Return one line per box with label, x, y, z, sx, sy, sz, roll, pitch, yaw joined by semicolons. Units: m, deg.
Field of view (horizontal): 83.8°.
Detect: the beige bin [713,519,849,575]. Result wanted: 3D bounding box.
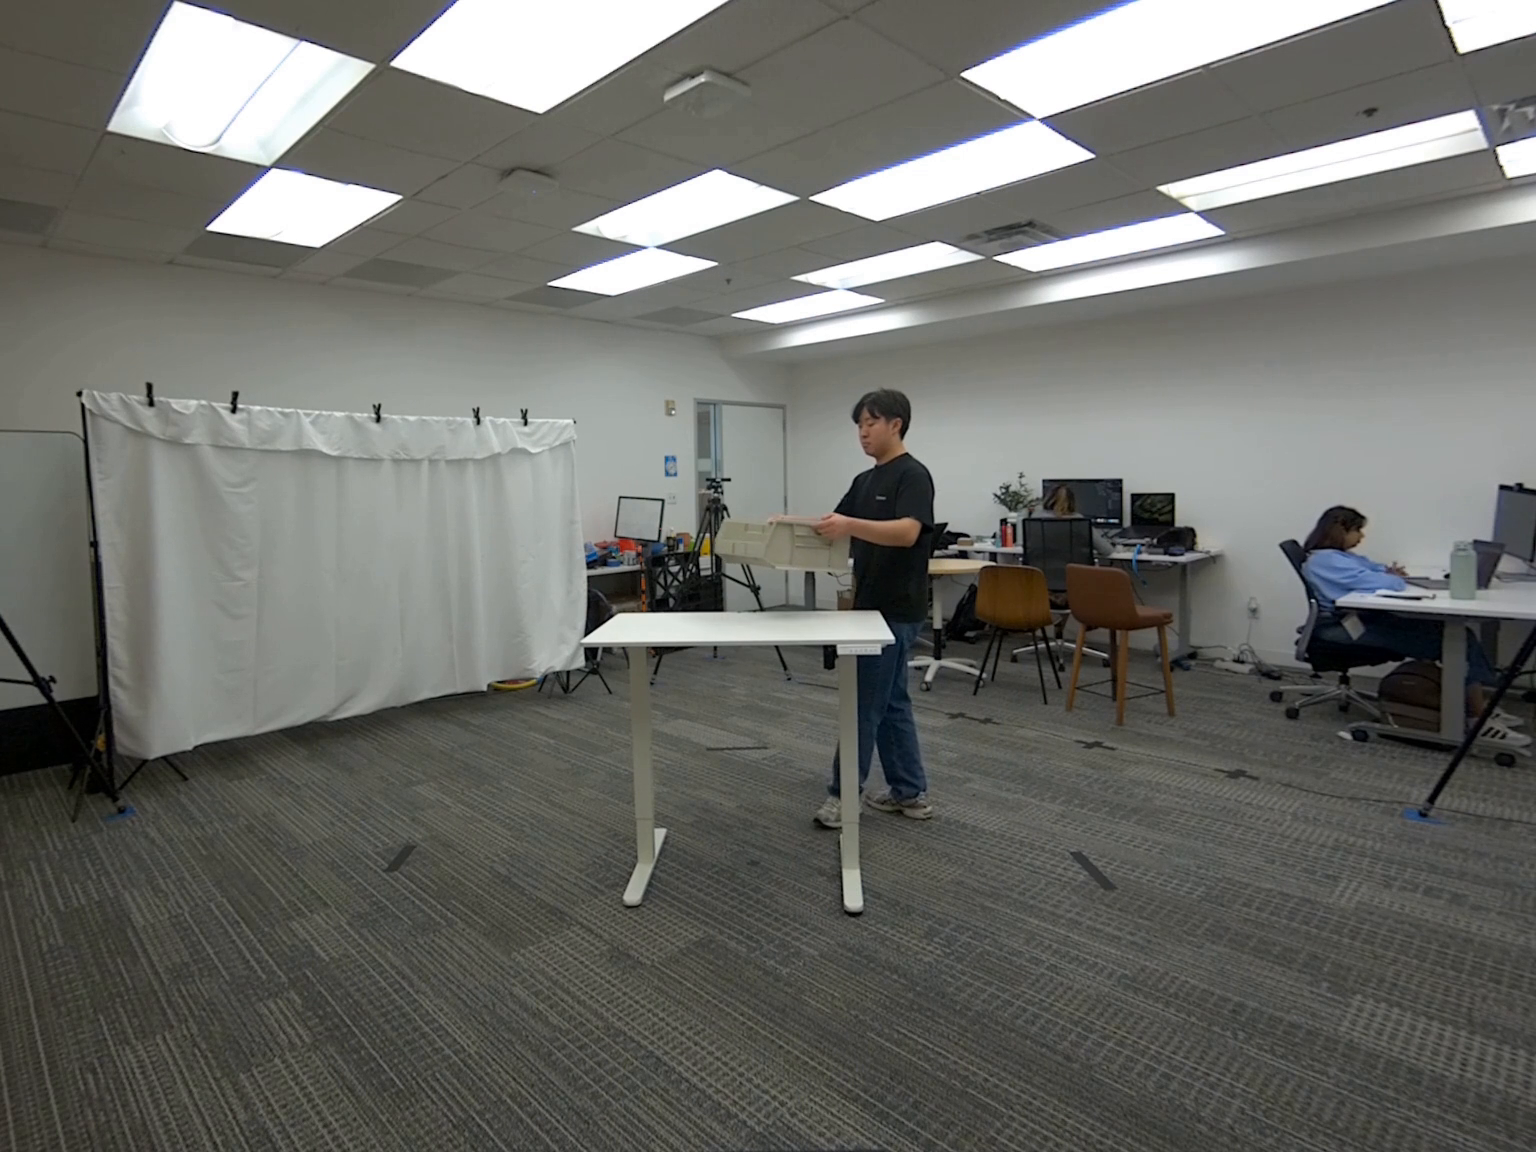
beige bin;0.053;-0.115;3.255;0.368;0.189;0.433;5;1;-27
